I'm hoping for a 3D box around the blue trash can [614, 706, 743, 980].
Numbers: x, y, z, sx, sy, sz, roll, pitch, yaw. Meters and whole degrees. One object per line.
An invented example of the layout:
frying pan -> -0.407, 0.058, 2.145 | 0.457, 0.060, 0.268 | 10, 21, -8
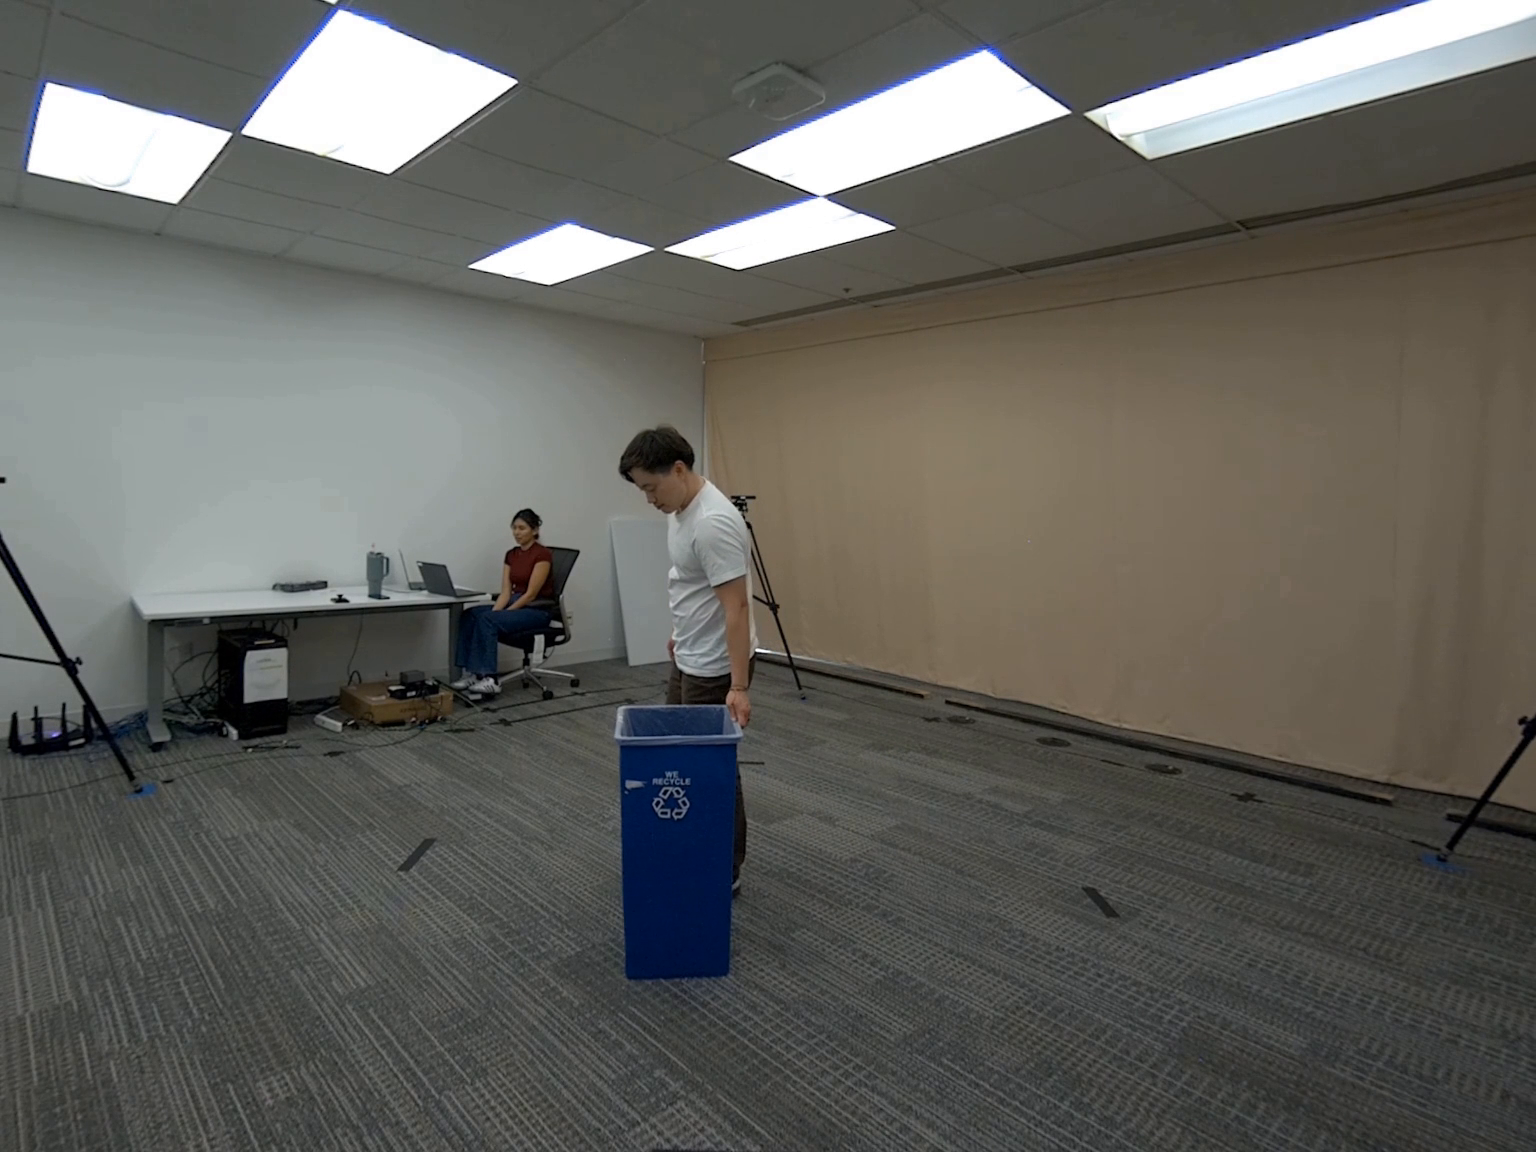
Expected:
blue trash can -> -0.292, 0.793, 2.546 | 0.376, 0.712, 0.377 | 0, 4, -7
